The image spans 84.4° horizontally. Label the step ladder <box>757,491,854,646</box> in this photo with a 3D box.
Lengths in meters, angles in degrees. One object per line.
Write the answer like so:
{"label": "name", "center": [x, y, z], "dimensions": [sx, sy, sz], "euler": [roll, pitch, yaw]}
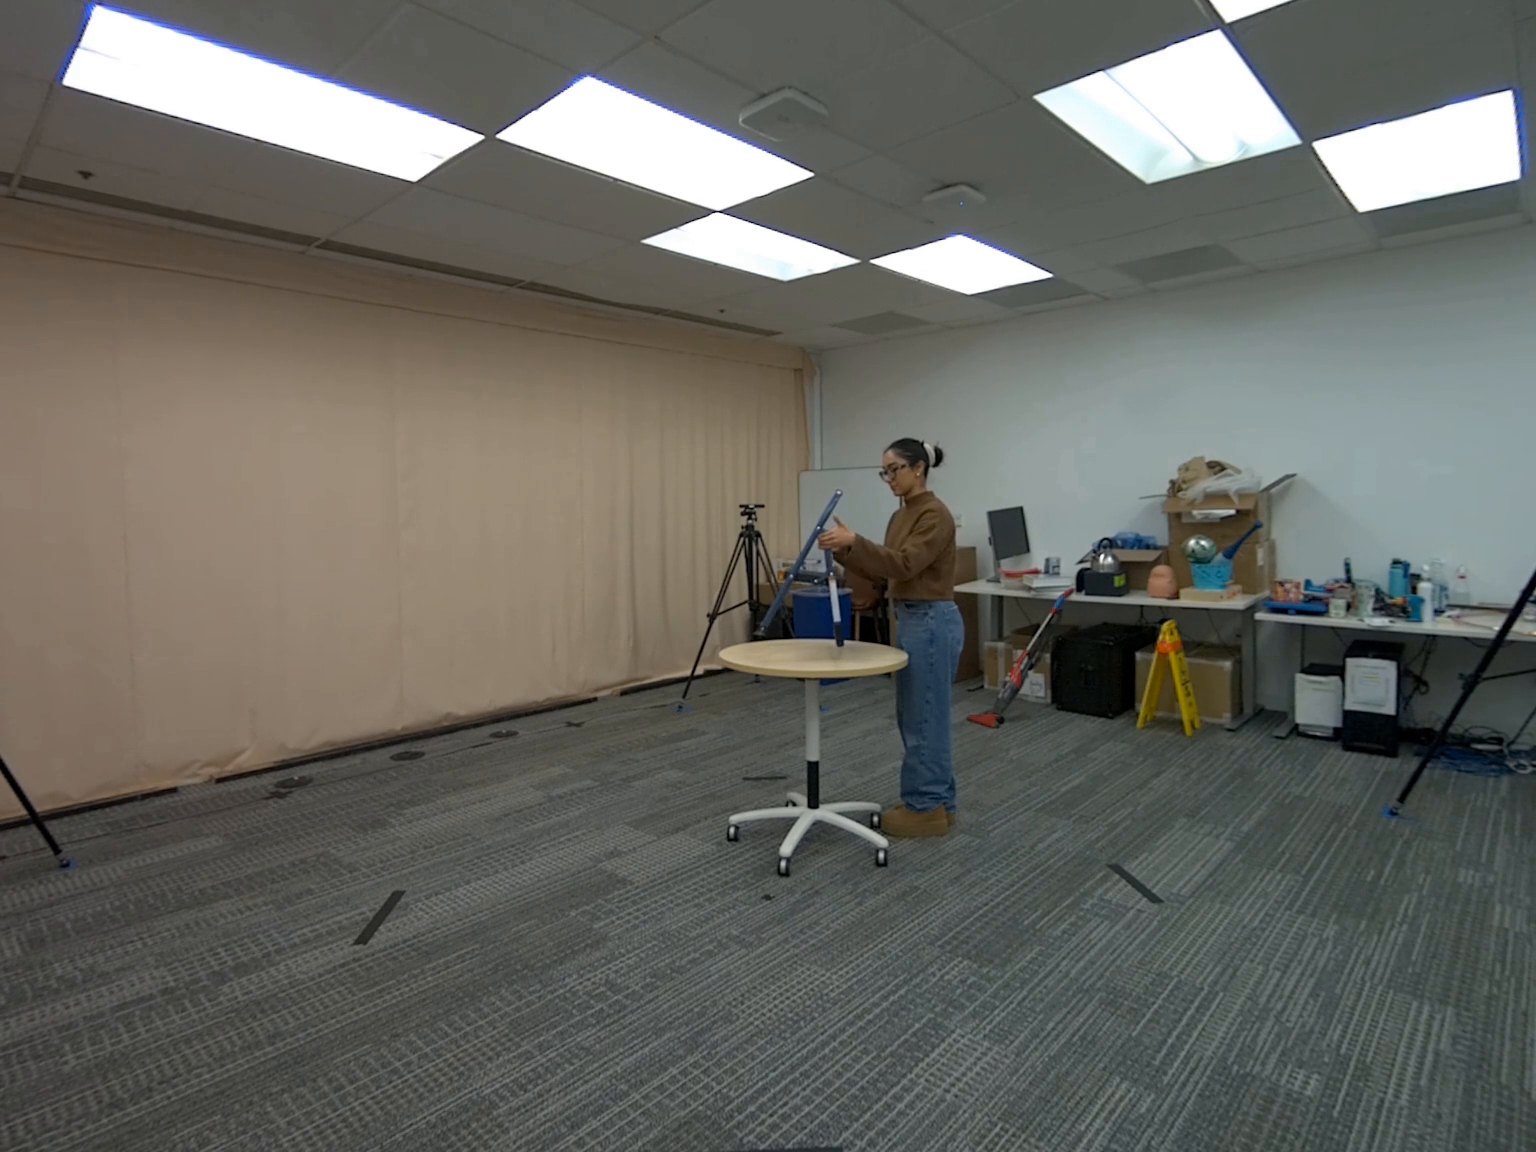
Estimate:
{"label": "step ladder", "center": [0.190, -0.042, 3.468], "dimensions": [0.351, 0.606, 0.428], "euler": [7, 0, 4]}
